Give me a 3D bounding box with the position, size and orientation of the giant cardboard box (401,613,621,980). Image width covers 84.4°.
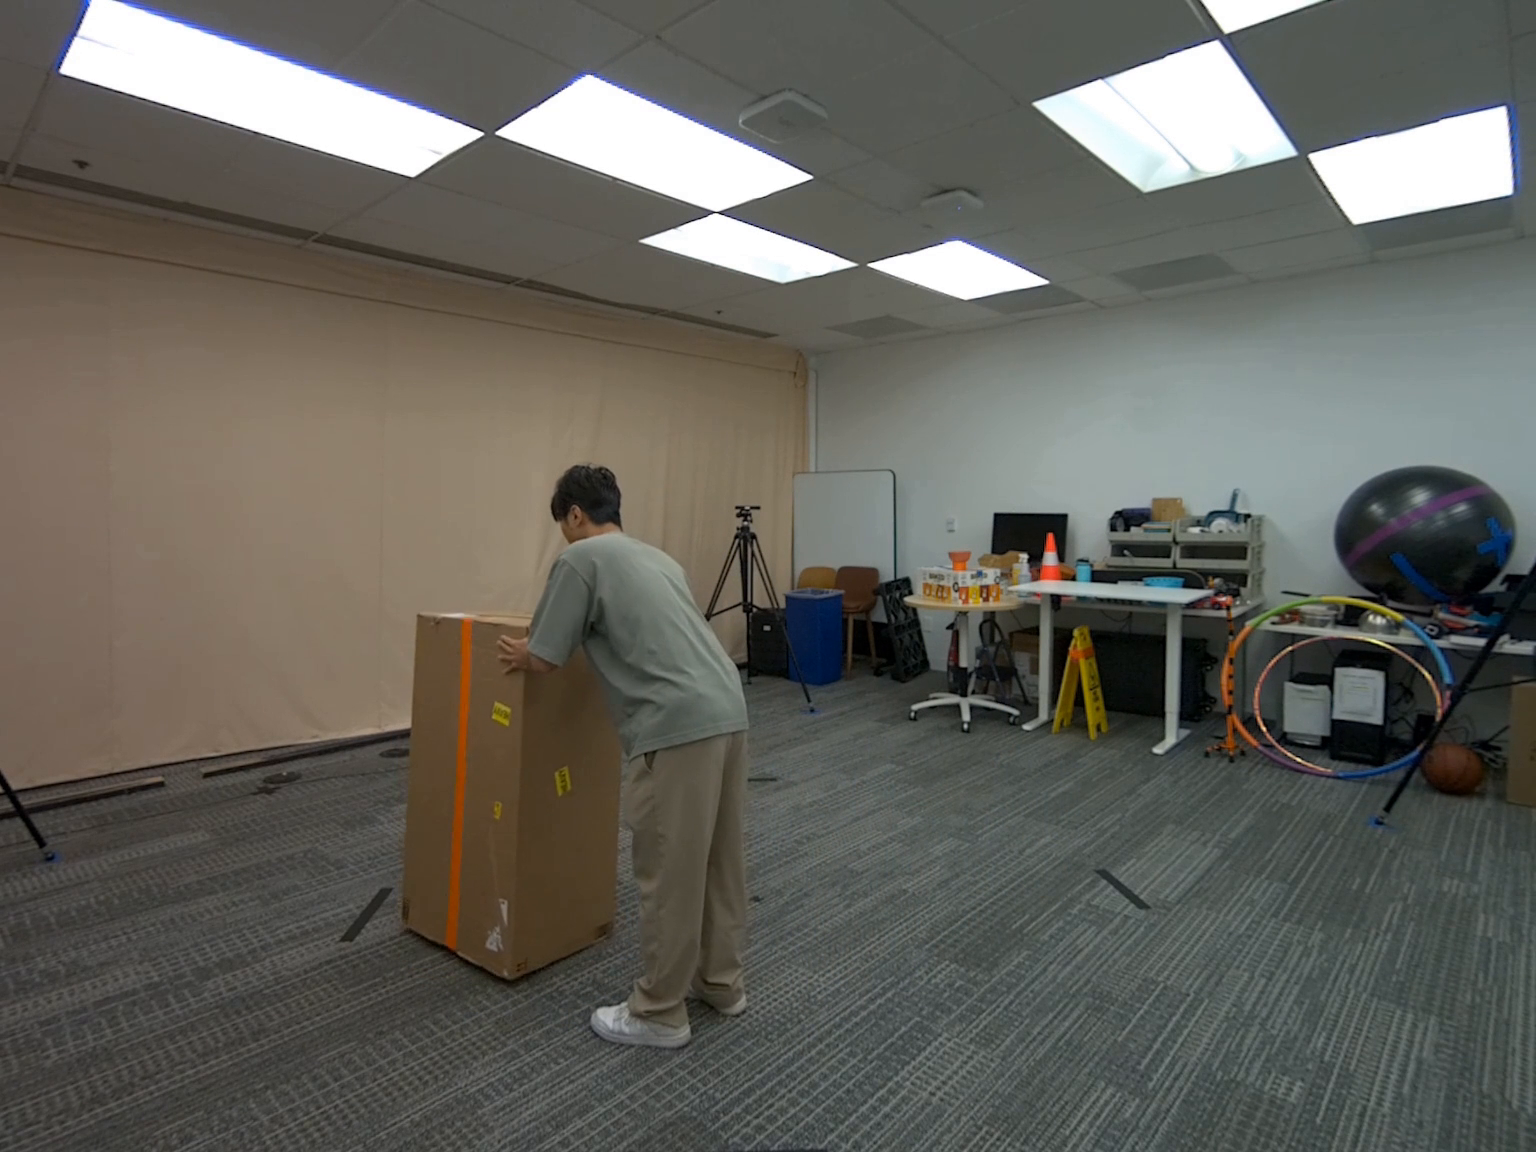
[{"bbox_3d":[-0.835,0.651,2.768,0.596,1.026,0.412,2,-1,37],"label":"giant cardboard box"}]
